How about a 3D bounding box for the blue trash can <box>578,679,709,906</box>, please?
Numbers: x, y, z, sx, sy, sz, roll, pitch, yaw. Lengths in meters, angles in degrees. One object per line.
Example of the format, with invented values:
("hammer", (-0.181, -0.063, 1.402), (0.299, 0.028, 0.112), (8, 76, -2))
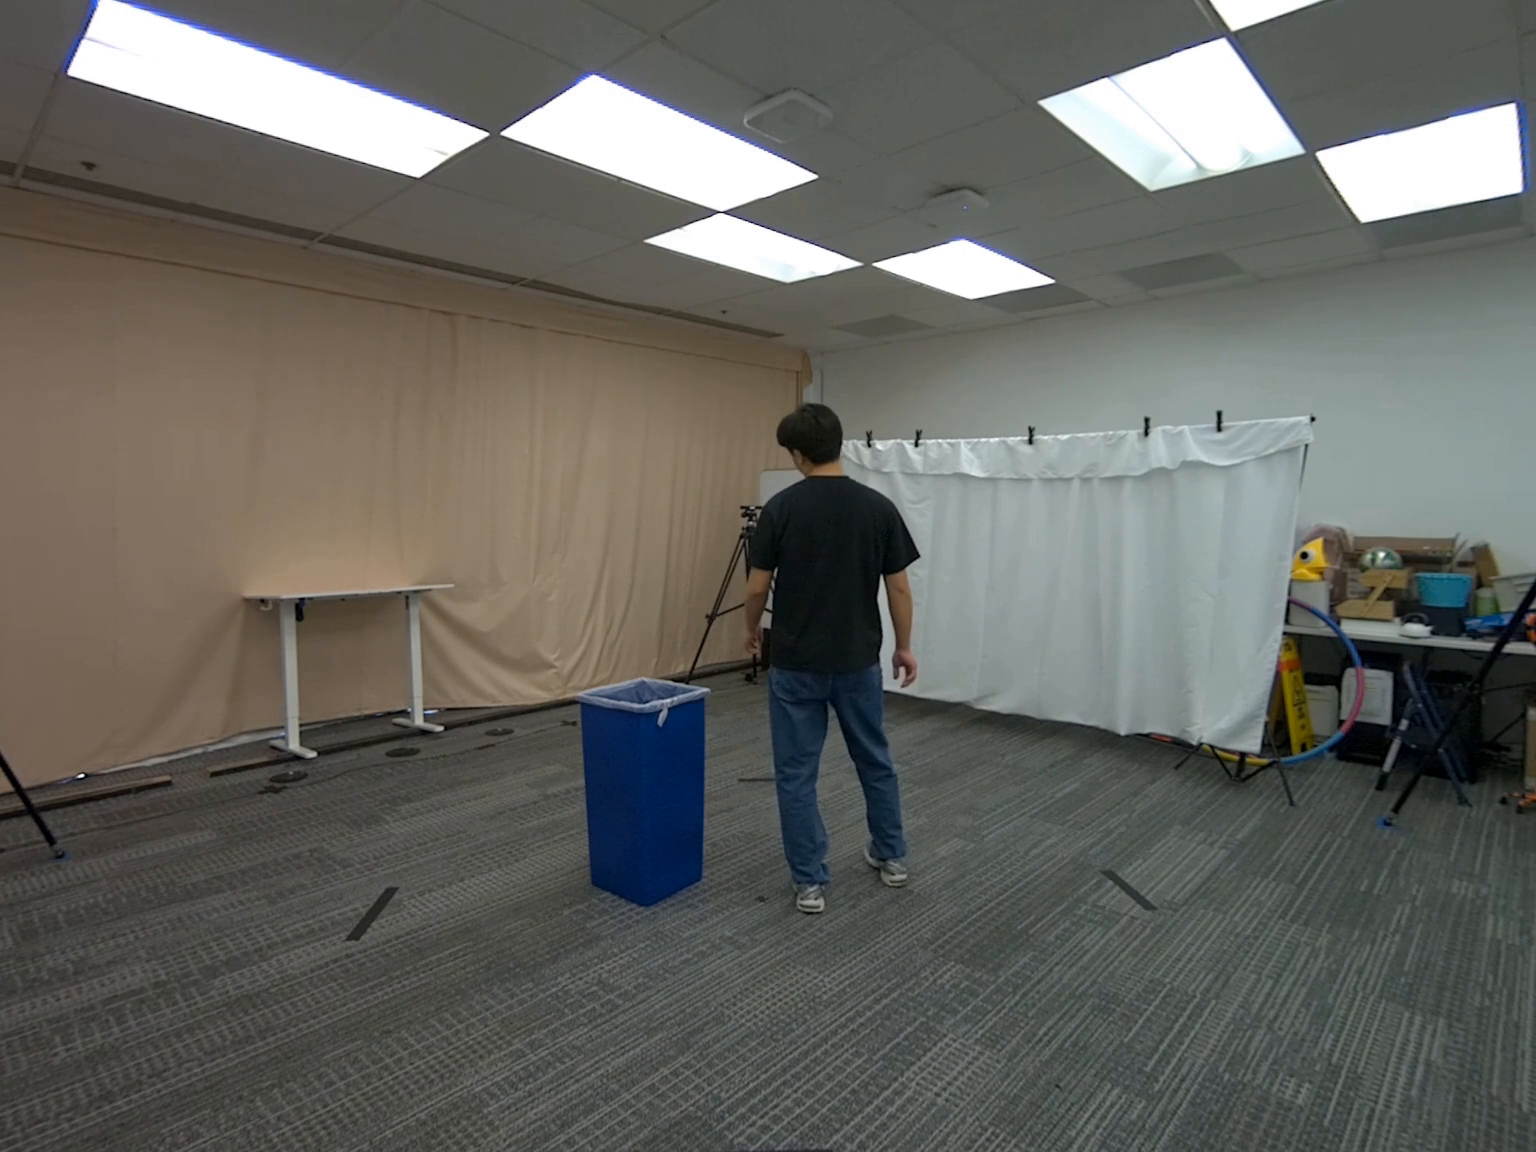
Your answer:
("blue trash can", (-0.462, 0.782, 3.117), (0.386, 0.712, 0.367), (2, 4, 39))
